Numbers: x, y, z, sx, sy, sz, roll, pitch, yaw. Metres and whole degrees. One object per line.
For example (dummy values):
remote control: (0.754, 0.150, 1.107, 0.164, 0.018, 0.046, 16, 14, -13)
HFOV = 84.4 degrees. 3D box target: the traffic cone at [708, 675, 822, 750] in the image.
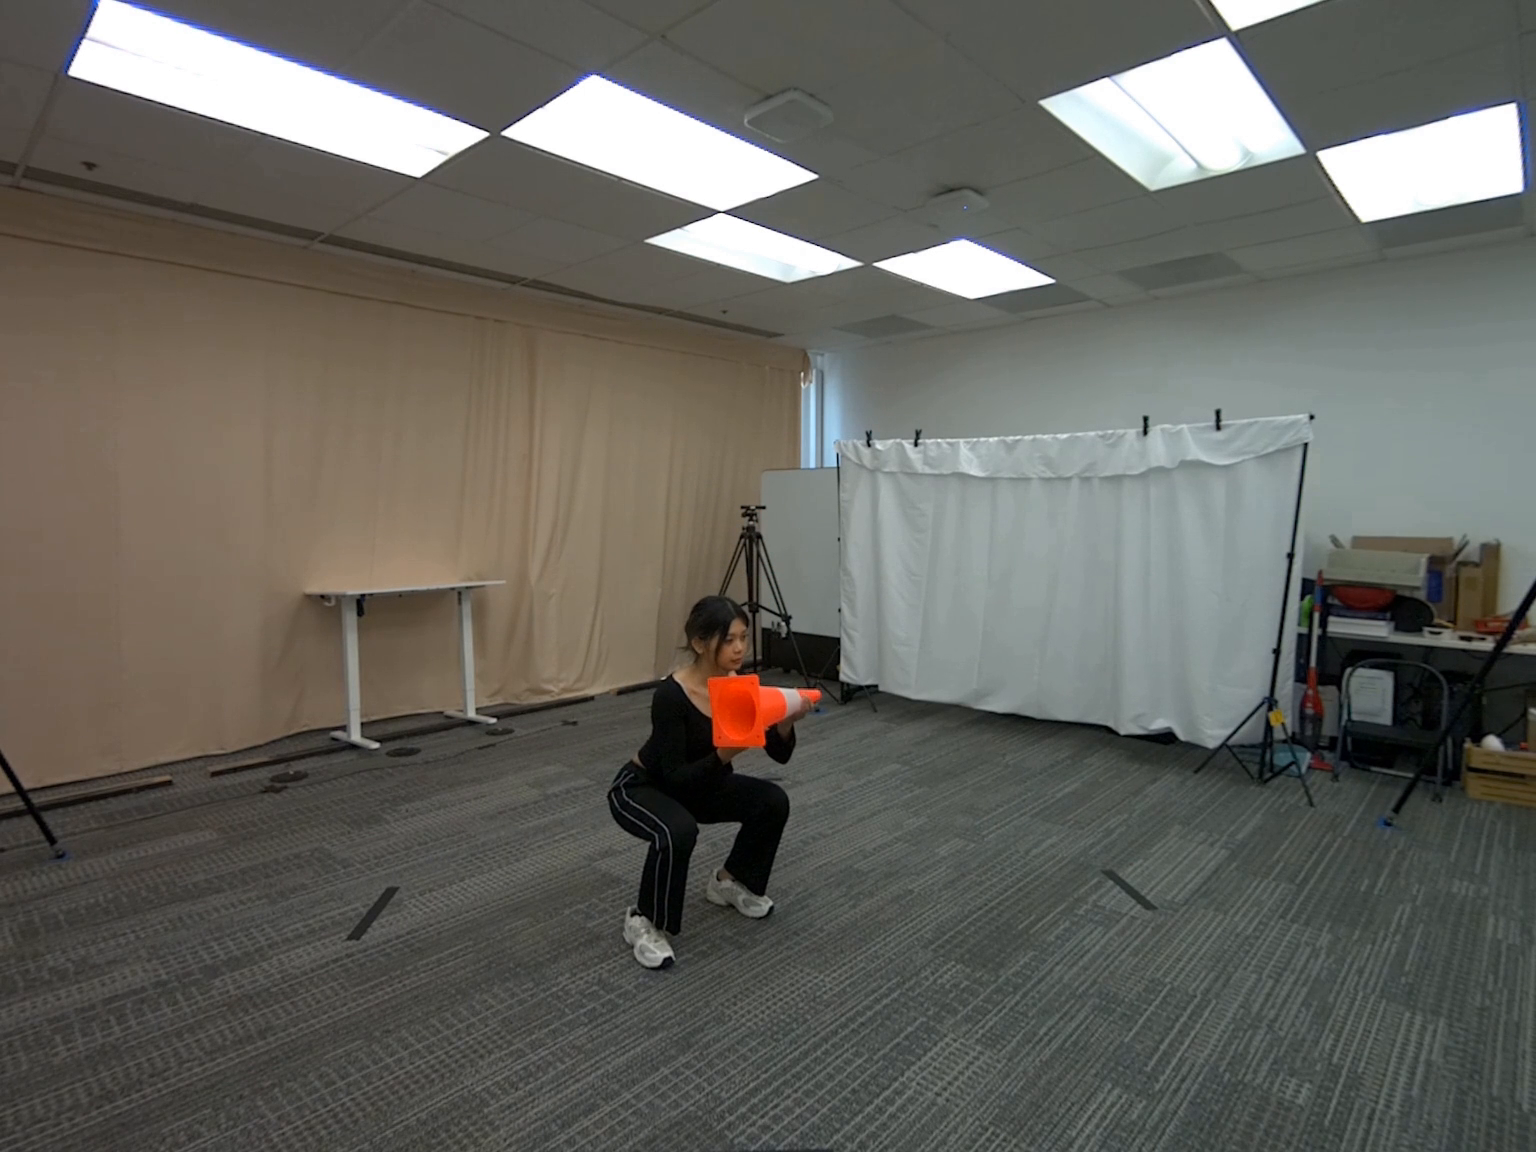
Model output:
traffic cone: (0.031, 0.379, 2.534, 0.371, 0.206, 0.208, 0, -11, -44)
